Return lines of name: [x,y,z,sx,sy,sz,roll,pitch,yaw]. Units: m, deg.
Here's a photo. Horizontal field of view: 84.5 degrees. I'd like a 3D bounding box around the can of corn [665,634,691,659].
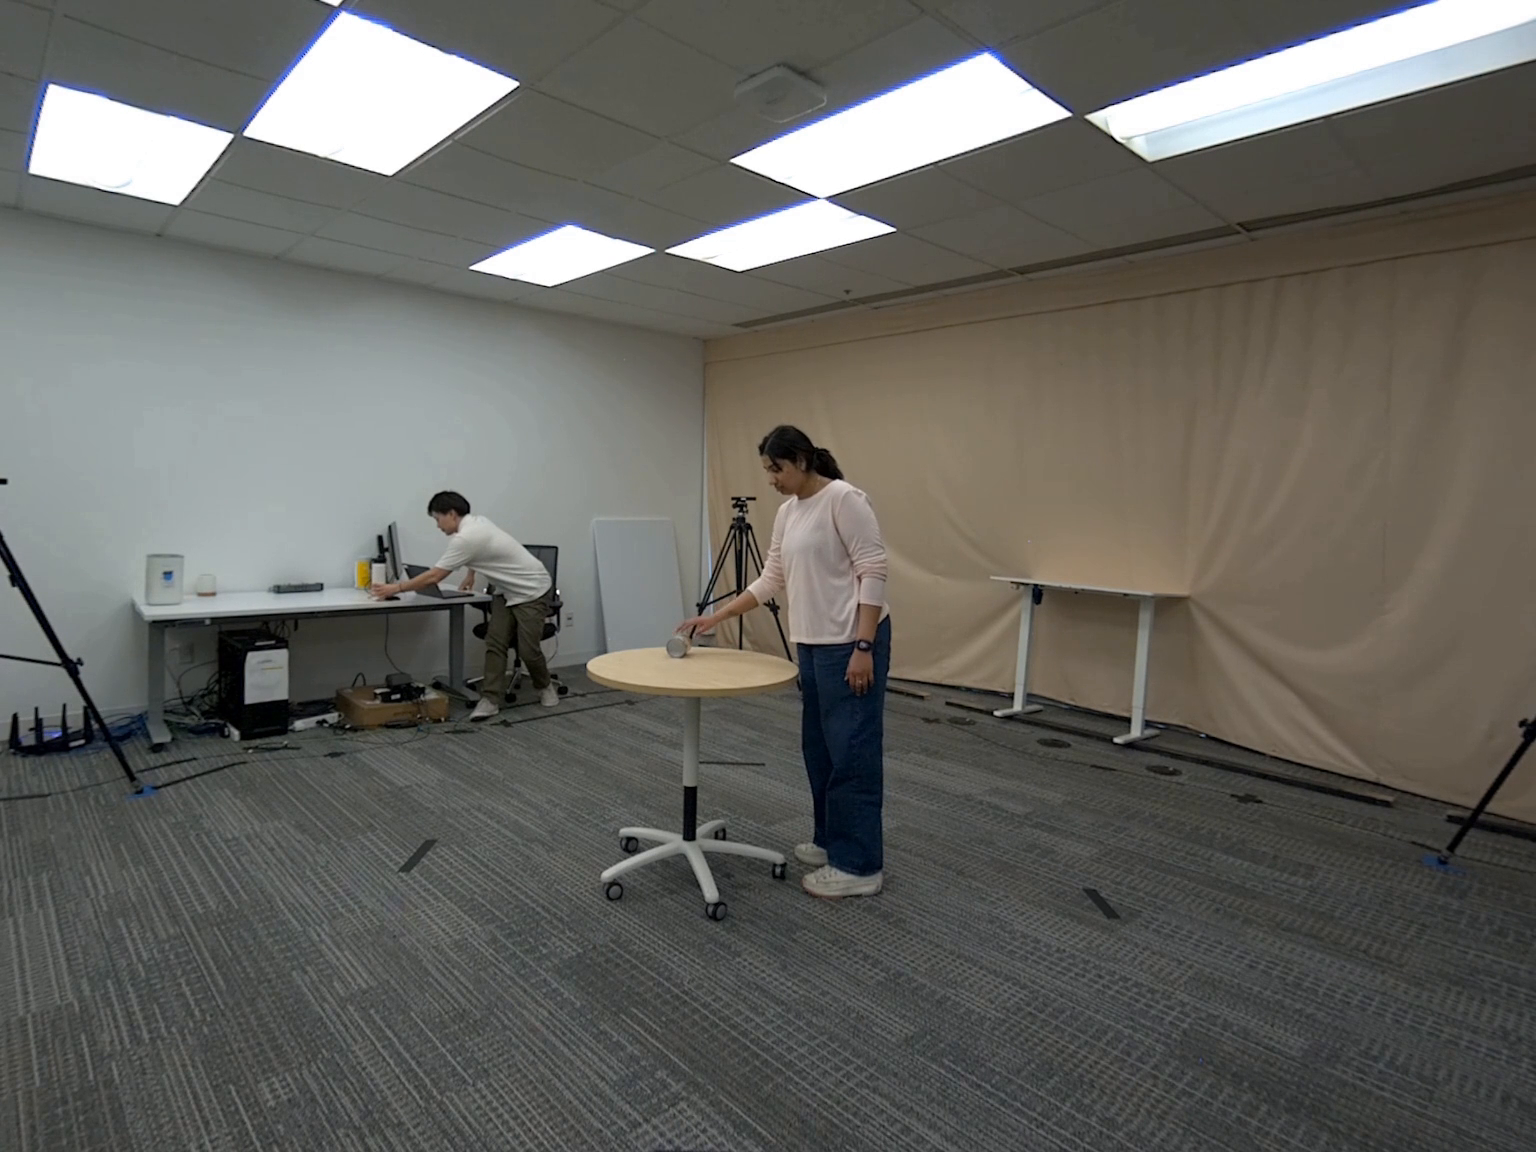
can of corn: [-0.344,0.266,3.240,0.074,0.074,0.111,2,4,4]
